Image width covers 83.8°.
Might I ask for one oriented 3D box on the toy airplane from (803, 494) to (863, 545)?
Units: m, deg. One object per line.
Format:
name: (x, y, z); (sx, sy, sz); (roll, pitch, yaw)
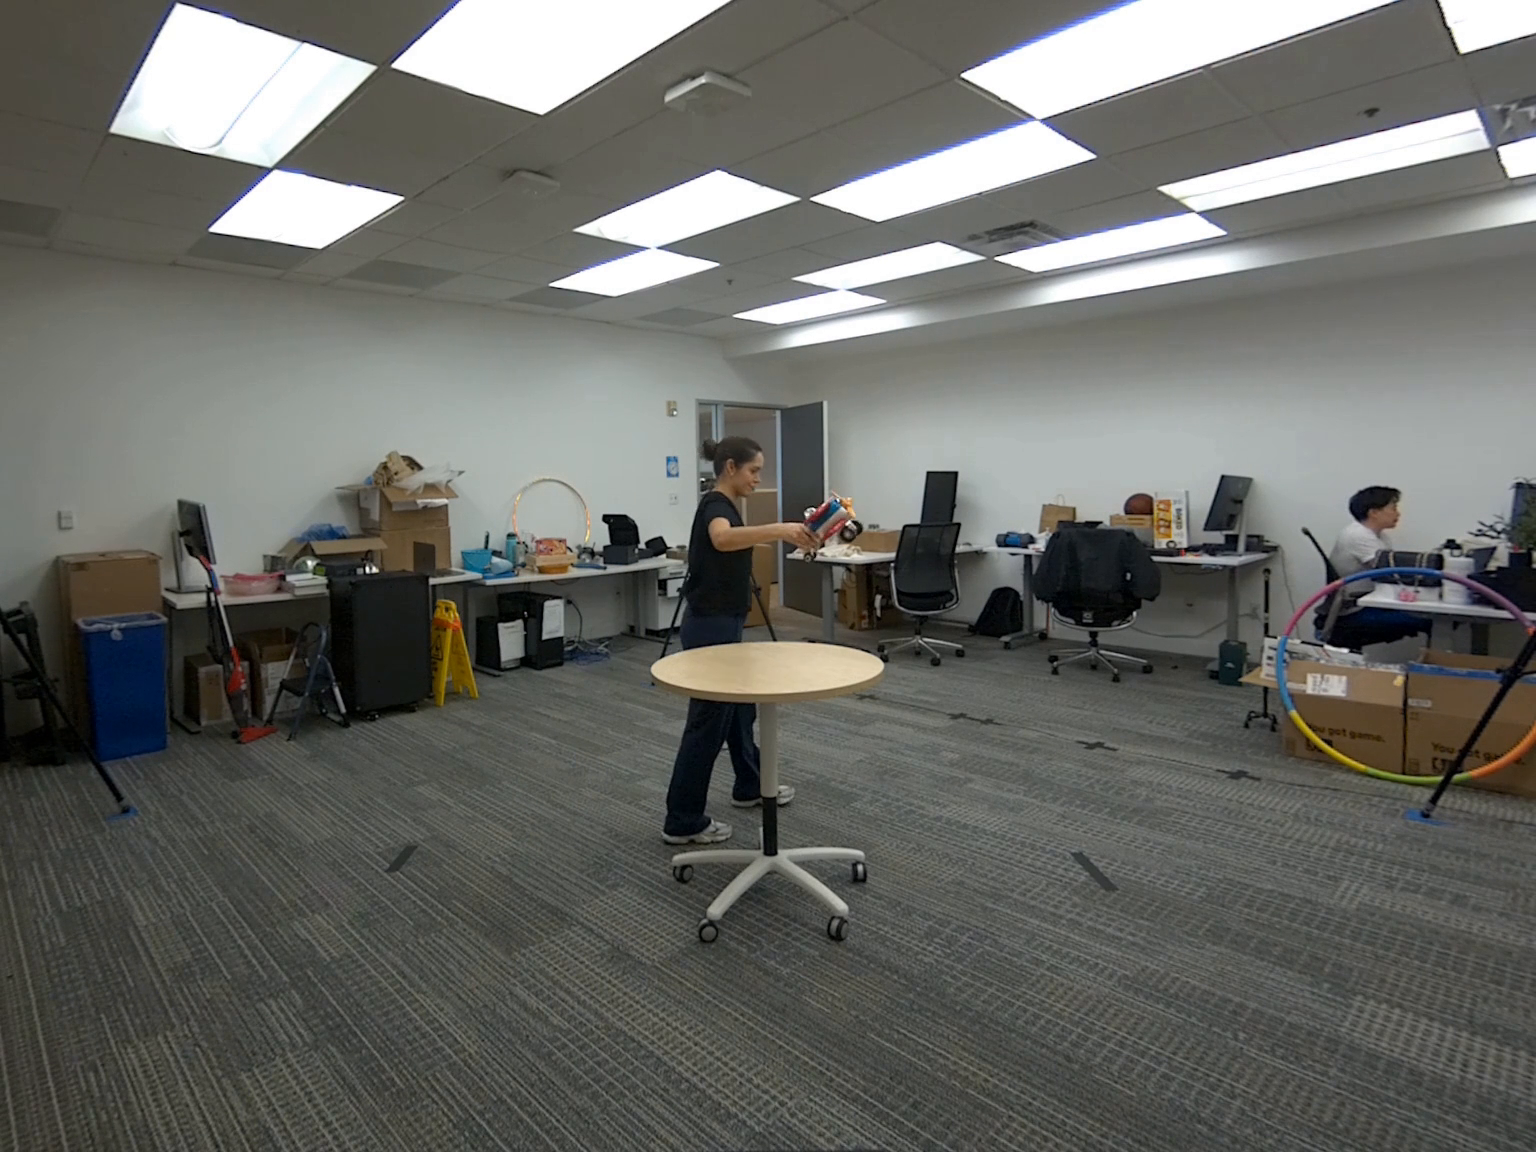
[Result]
toy airplane: (0.183, -0.159, 2.868); (0.259, 0.156, 0.252); (-30, 4, -1)
